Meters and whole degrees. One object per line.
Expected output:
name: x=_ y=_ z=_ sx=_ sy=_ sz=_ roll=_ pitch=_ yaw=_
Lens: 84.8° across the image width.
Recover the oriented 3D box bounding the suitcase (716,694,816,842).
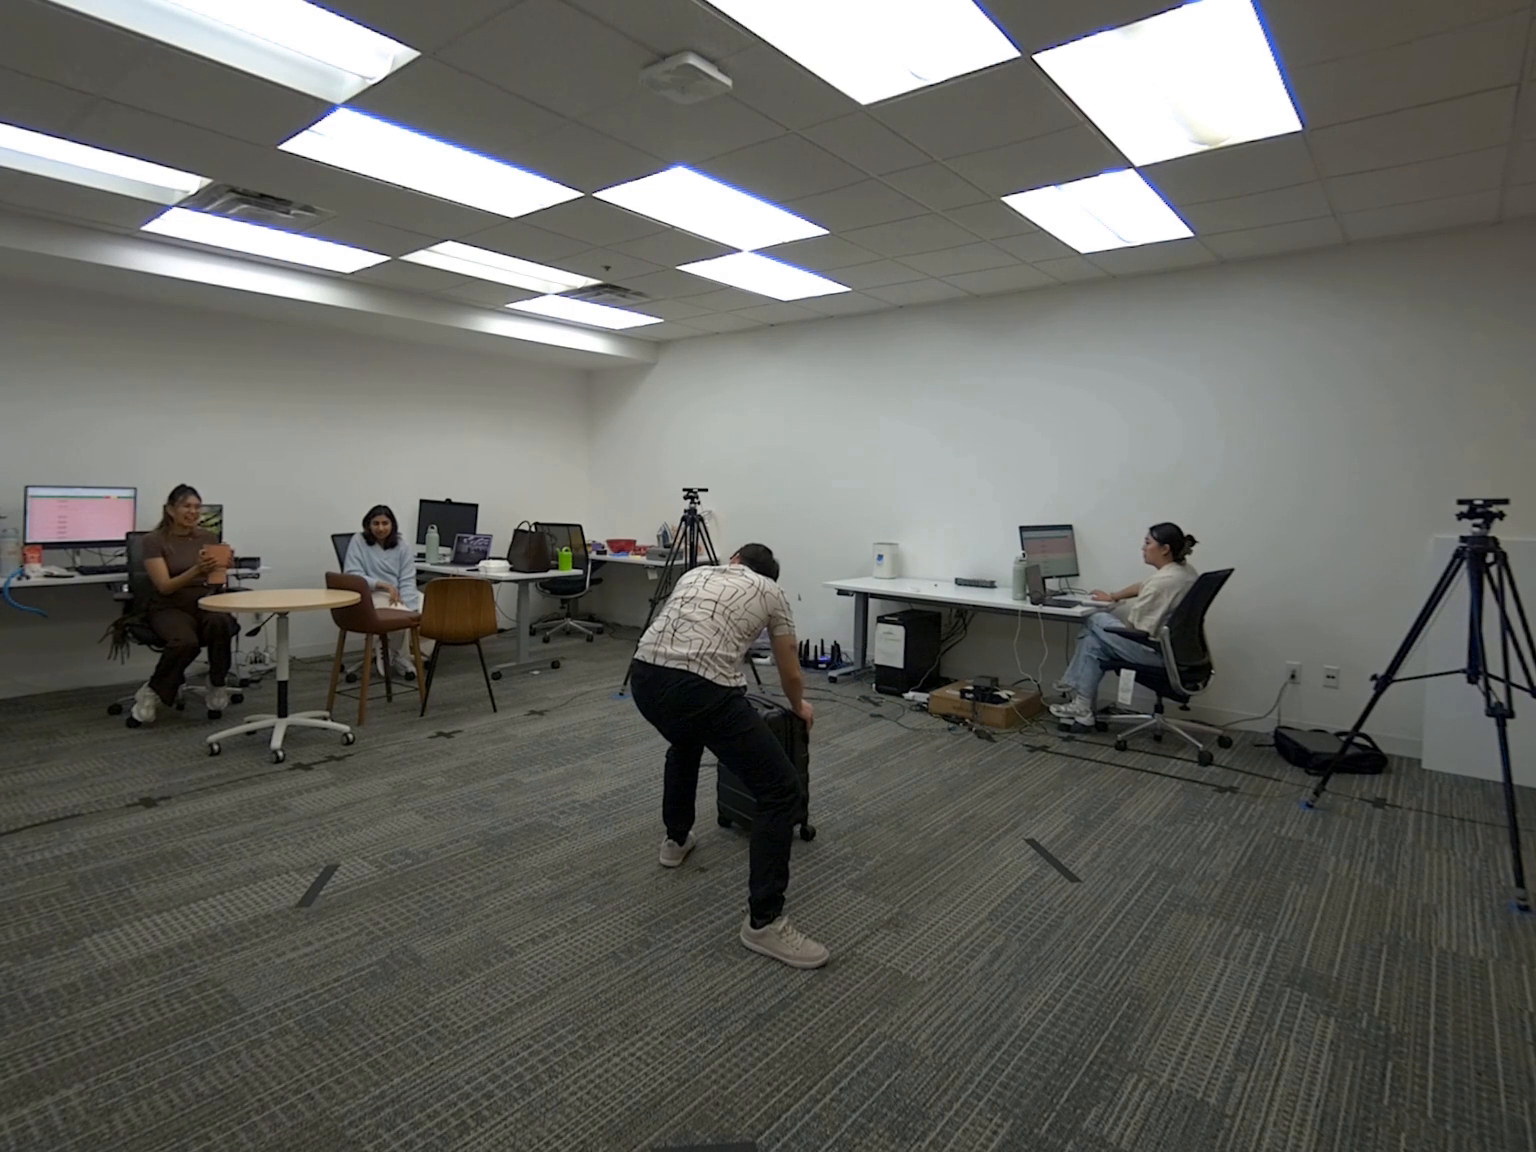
suitcase: x=-0.030 y=0.764 z=3.465 sx=0.241 sy=0.549 sz=0.387 roll=-2 pitch=2 yaw=-37
